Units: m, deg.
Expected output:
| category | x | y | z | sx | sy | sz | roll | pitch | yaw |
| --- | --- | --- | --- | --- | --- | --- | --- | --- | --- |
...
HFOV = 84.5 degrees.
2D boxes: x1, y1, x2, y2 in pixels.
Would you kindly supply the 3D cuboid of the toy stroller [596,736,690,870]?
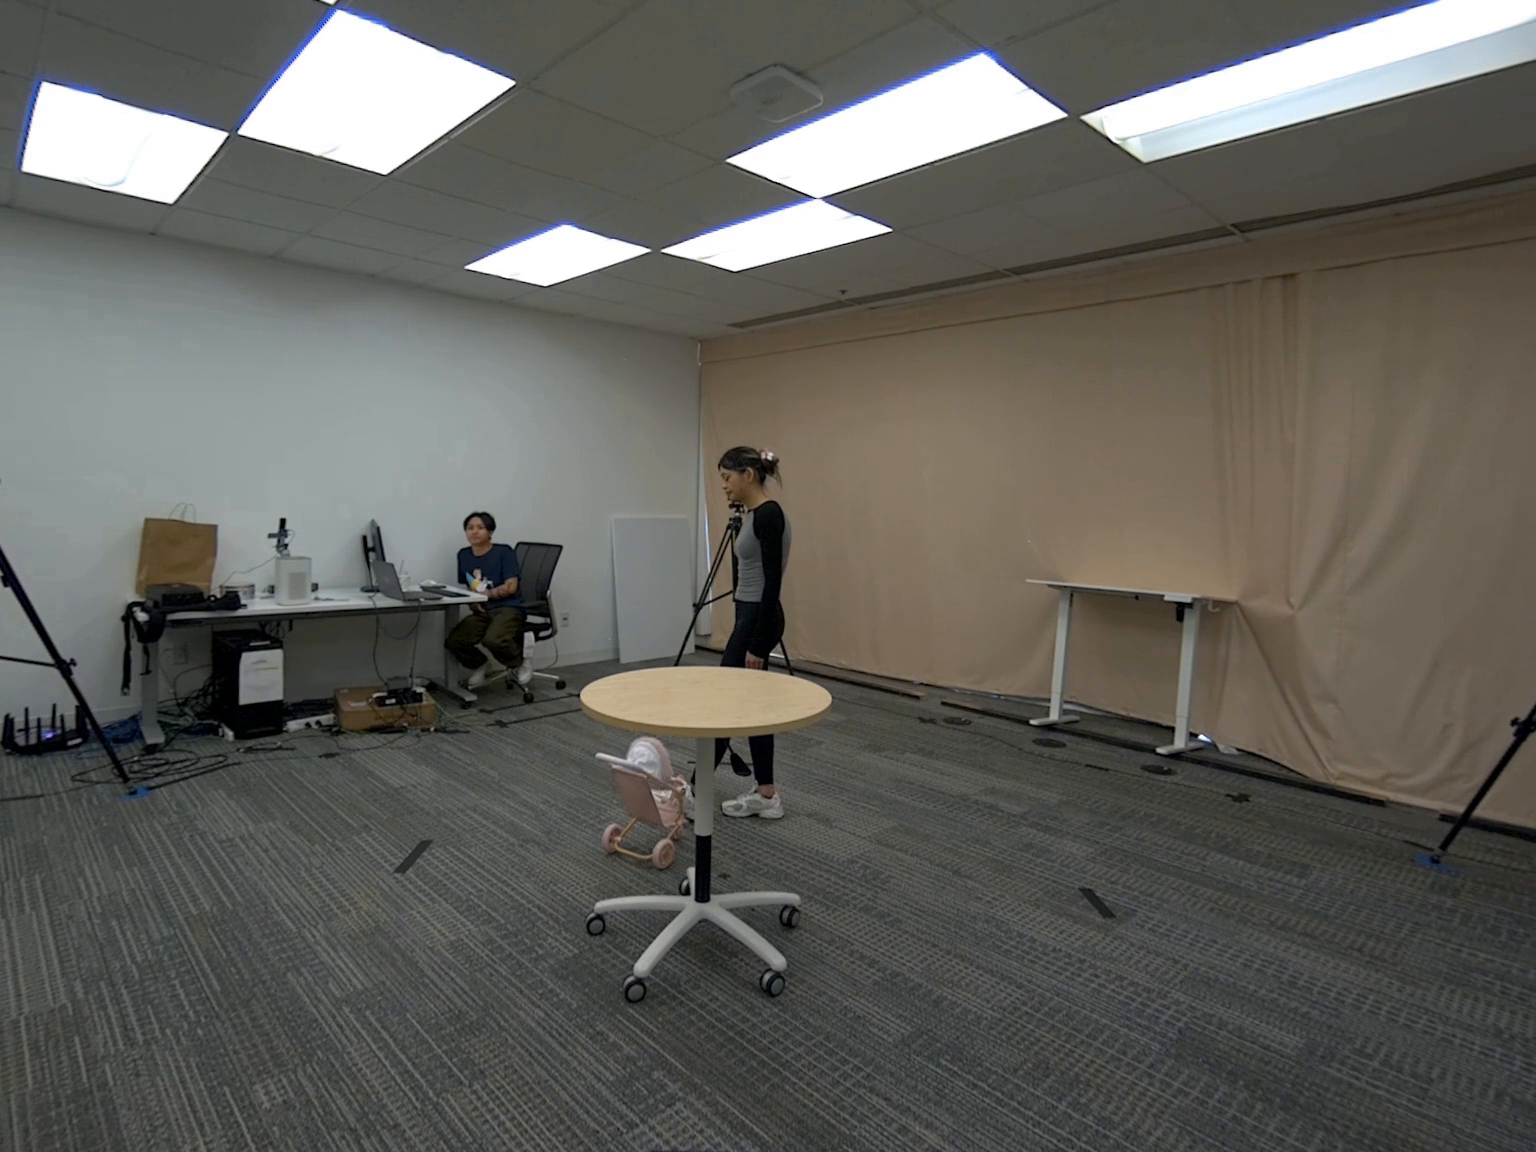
| category | x | y | z | sx | sy | sz | roll | pitch | yaw |
| --- | --- | --- | --- | --- | --- | --- | --- | --- | --- |
| toy stroller | -0.465 | 0.861 | 3.267 | 0.288 | 0.528 | 0.337 | 6 | 20 | 35 |
